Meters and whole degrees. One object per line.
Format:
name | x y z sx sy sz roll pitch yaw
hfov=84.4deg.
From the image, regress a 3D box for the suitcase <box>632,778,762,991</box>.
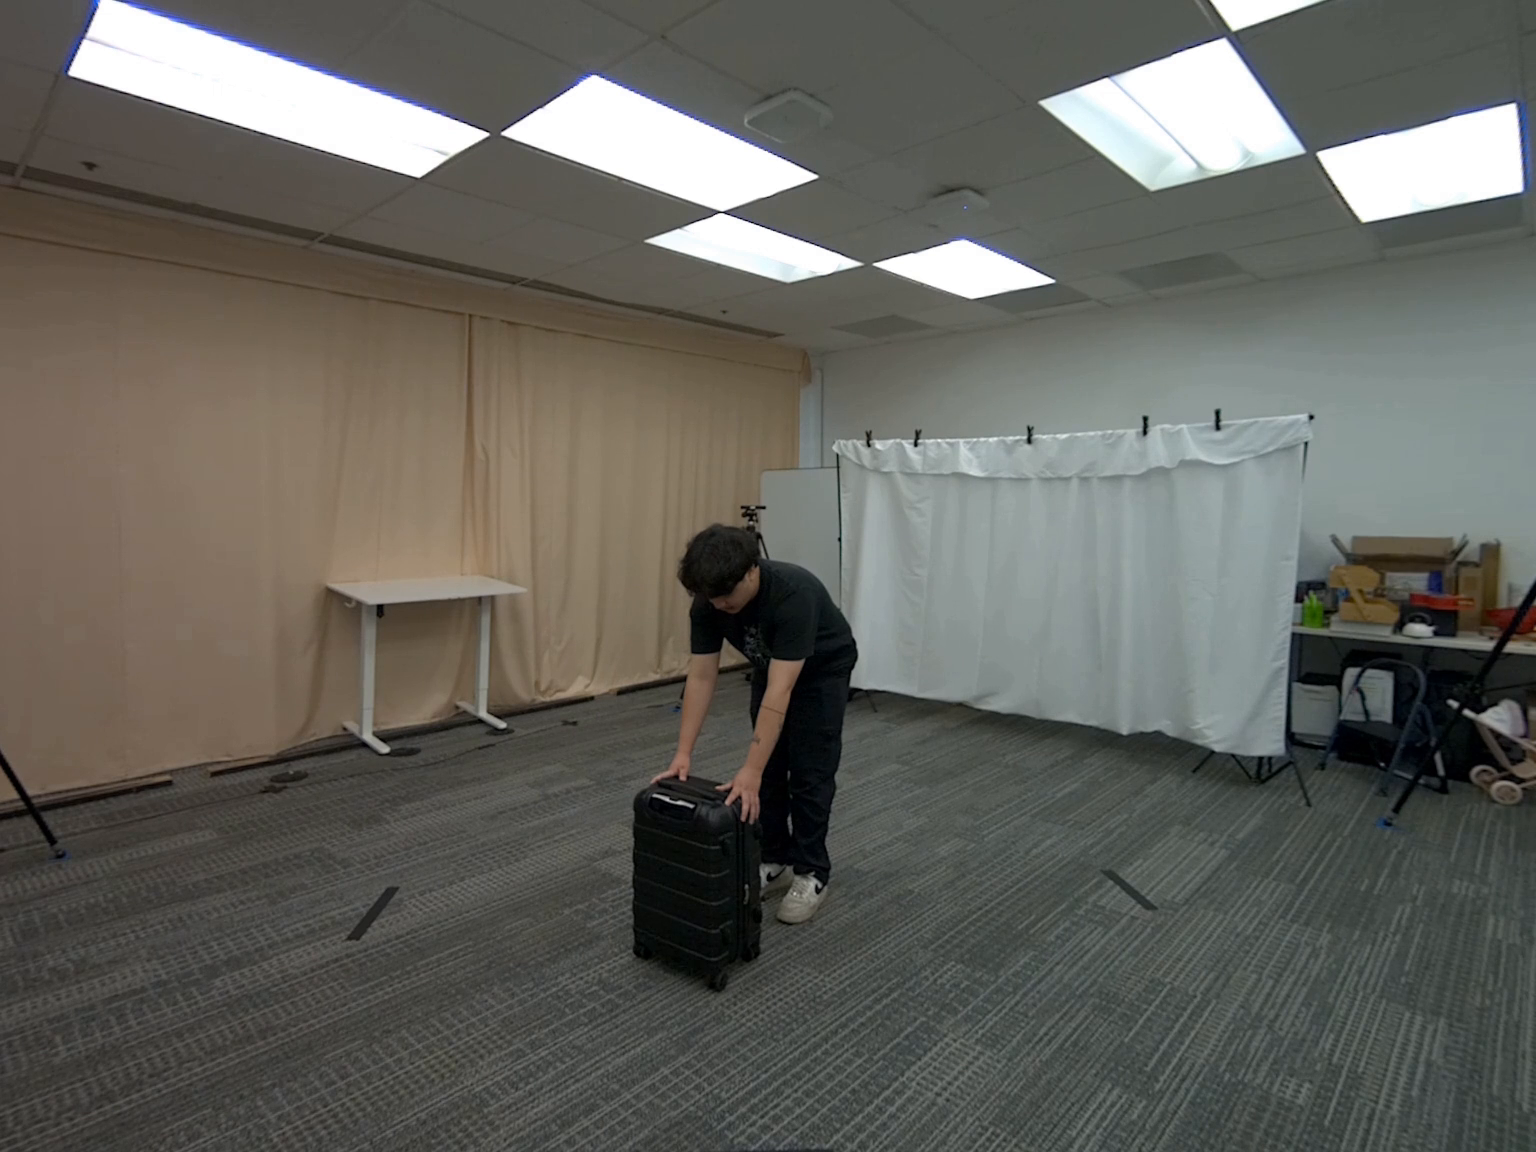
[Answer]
suitcase | -0.221 0.908 2.567 0.387 0.548 0.241 2 5 35
